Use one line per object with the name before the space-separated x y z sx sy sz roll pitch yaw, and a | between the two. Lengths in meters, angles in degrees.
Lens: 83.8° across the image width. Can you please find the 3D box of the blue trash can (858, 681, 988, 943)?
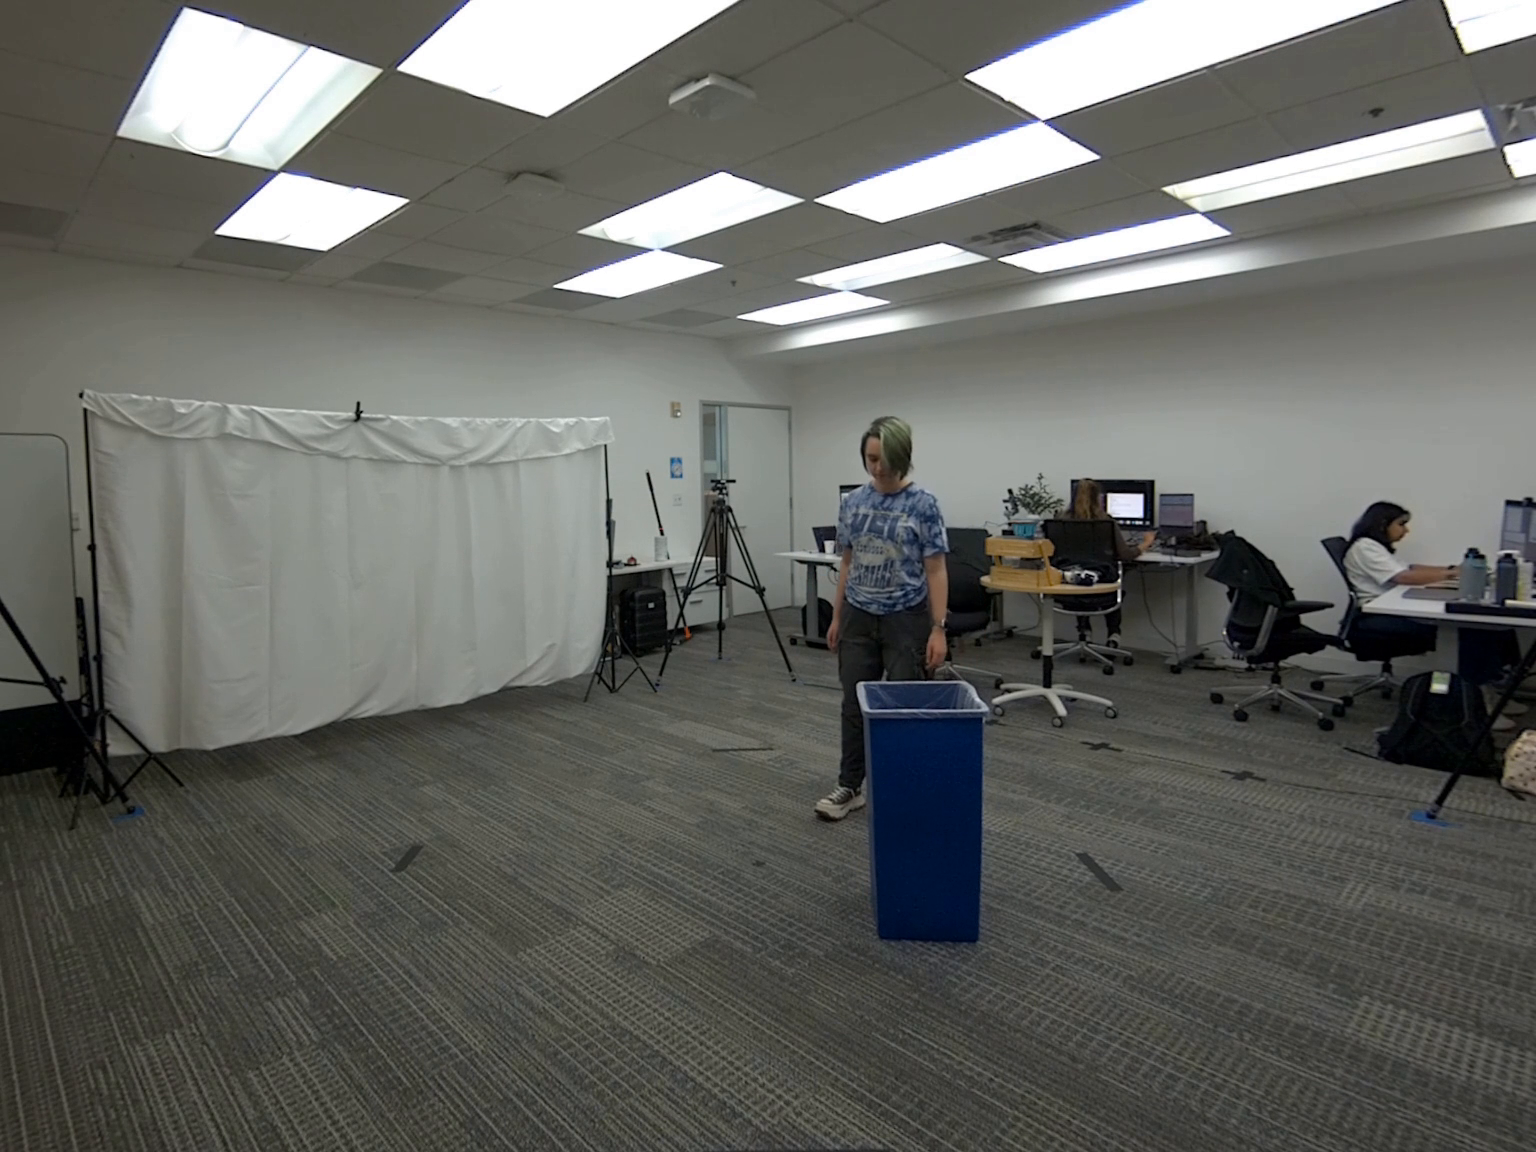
blue trash can | 0.482 0.731 2.689 0.376 0.711 0.378 -1 4 4
